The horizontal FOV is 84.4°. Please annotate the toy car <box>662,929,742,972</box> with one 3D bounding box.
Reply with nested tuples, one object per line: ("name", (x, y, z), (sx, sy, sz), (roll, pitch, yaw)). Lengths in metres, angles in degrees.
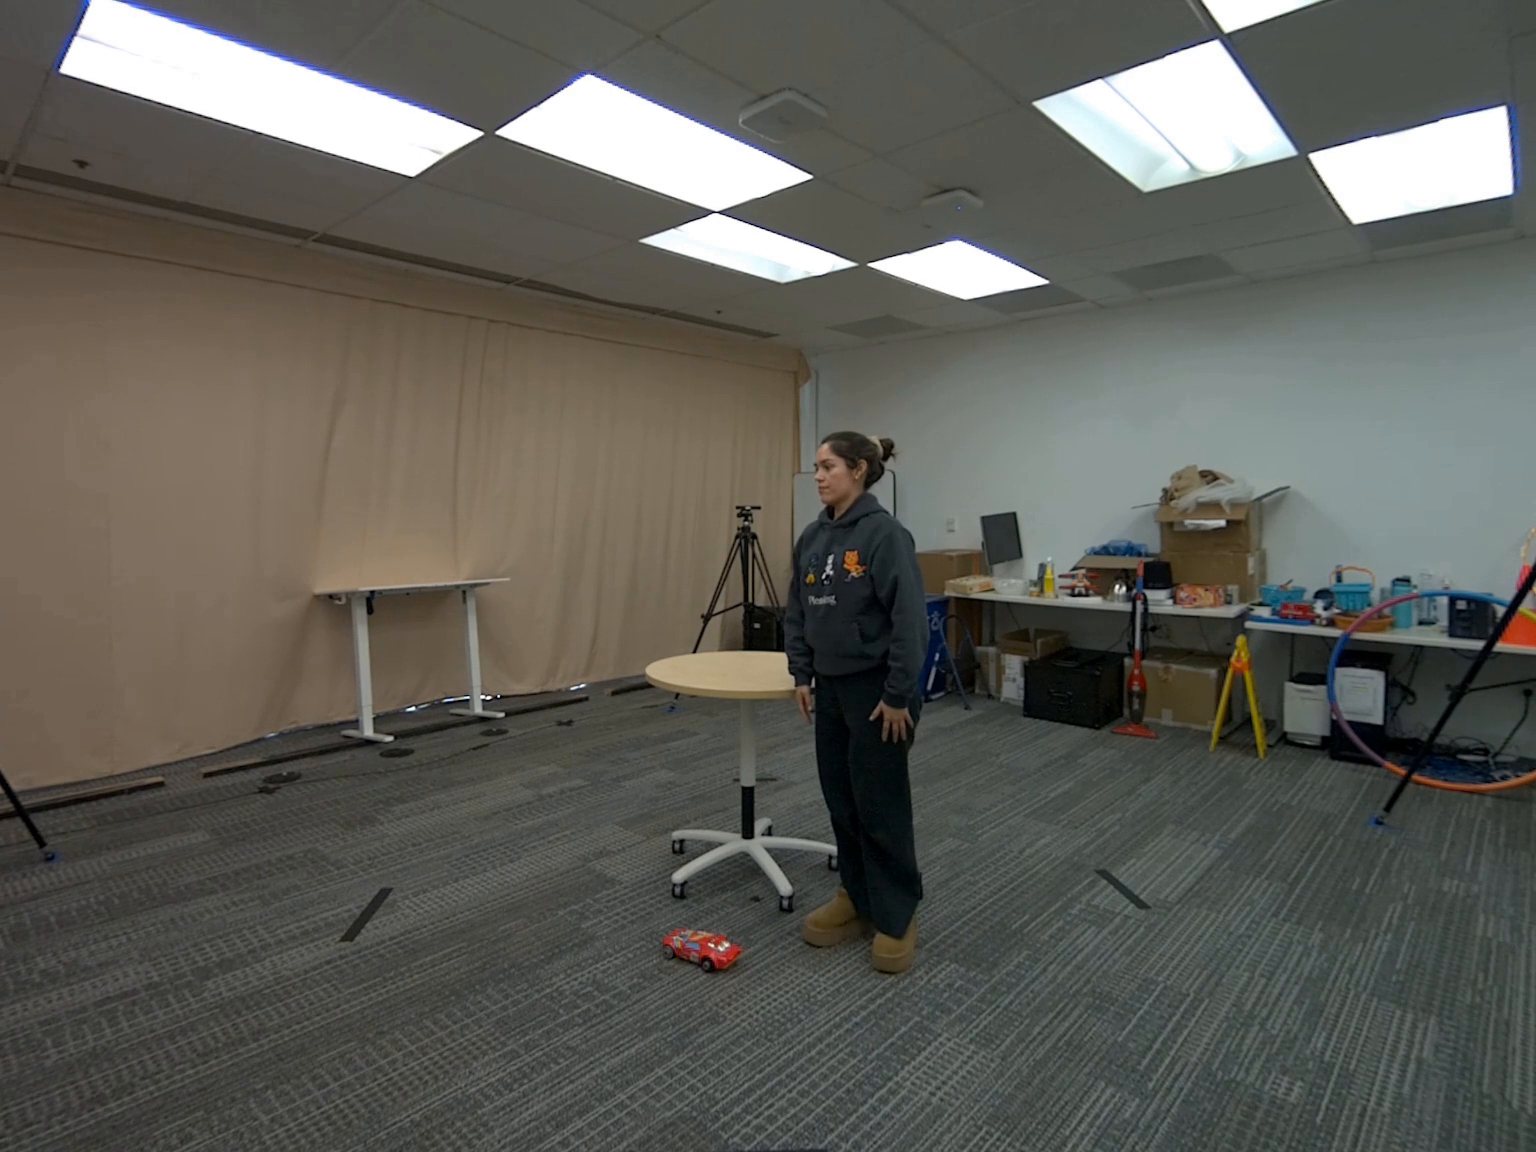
("toy car", (-0.177, 1.159, 2.576), (0.261, 0.083, 0.127), (-10, -2, 32))
